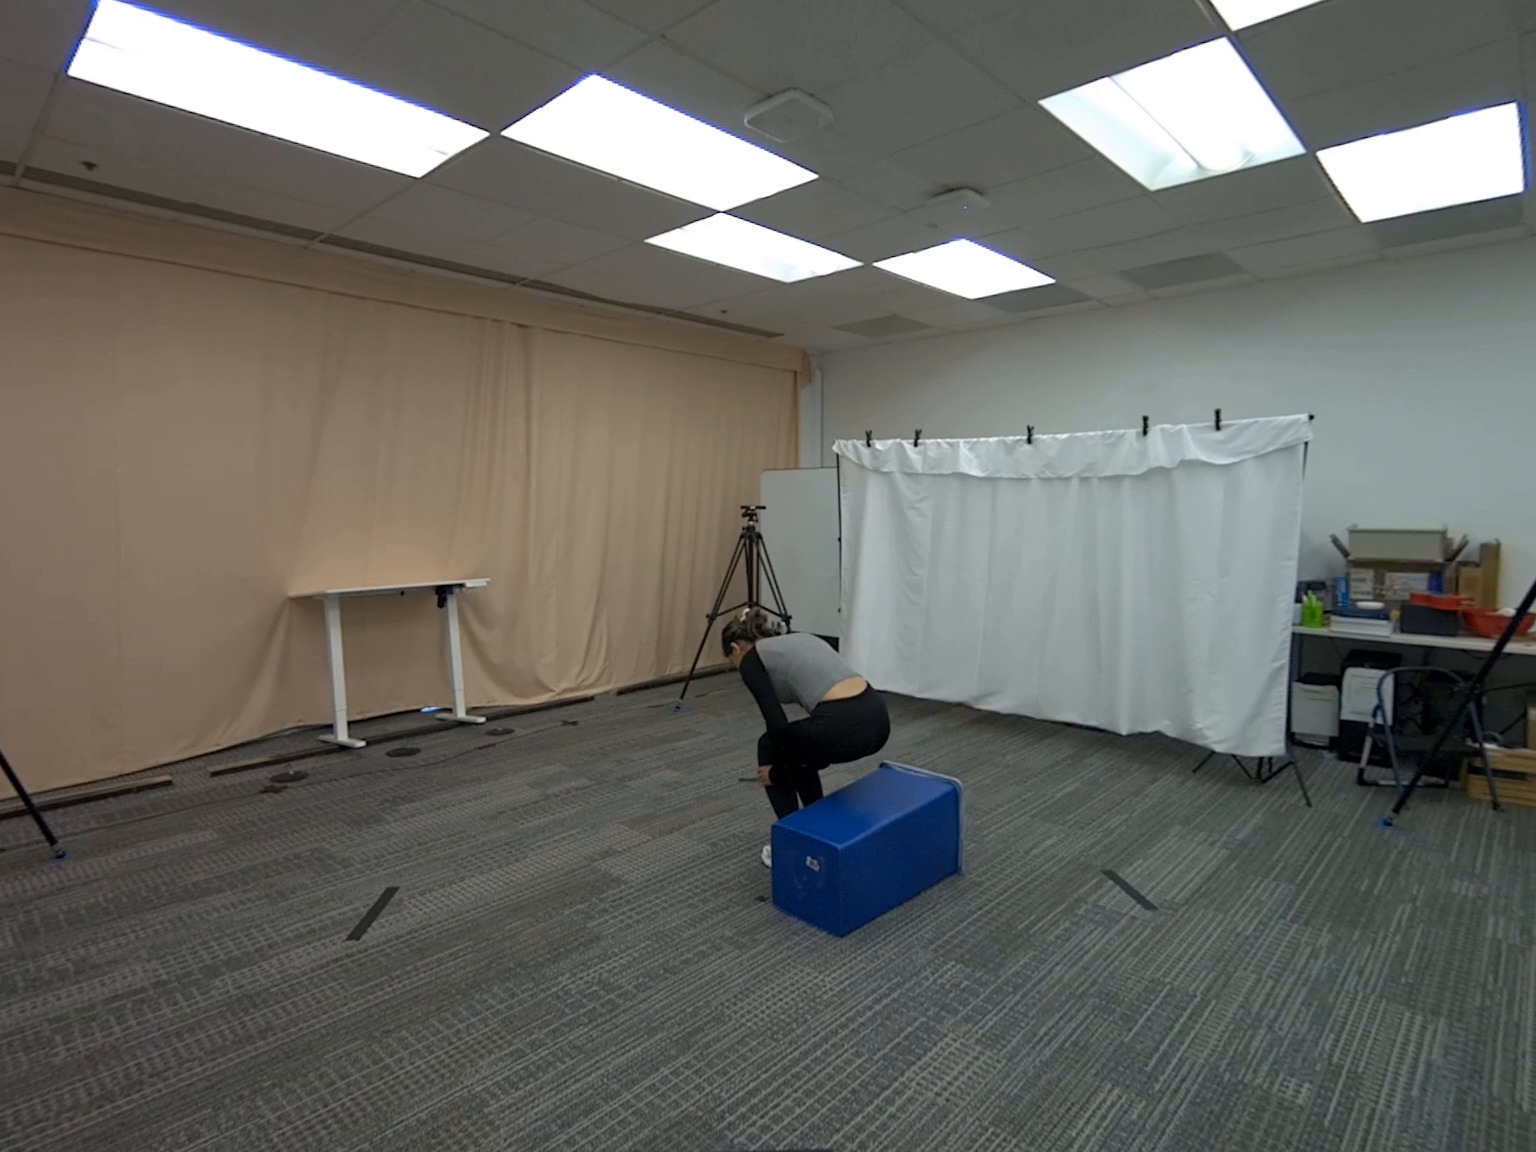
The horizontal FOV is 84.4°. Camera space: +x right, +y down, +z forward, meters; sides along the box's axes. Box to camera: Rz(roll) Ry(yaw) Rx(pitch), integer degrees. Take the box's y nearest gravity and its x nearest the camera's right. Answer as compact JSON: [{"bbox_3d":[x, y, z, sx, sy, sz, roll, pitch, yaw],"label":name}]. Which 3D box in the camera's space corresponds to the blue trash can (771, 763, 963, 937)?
[{"bbox_3d":[0.370,0.965,3.038,0.391,0.373,0.692,5,8,44],"label":"blue trash can"}]
